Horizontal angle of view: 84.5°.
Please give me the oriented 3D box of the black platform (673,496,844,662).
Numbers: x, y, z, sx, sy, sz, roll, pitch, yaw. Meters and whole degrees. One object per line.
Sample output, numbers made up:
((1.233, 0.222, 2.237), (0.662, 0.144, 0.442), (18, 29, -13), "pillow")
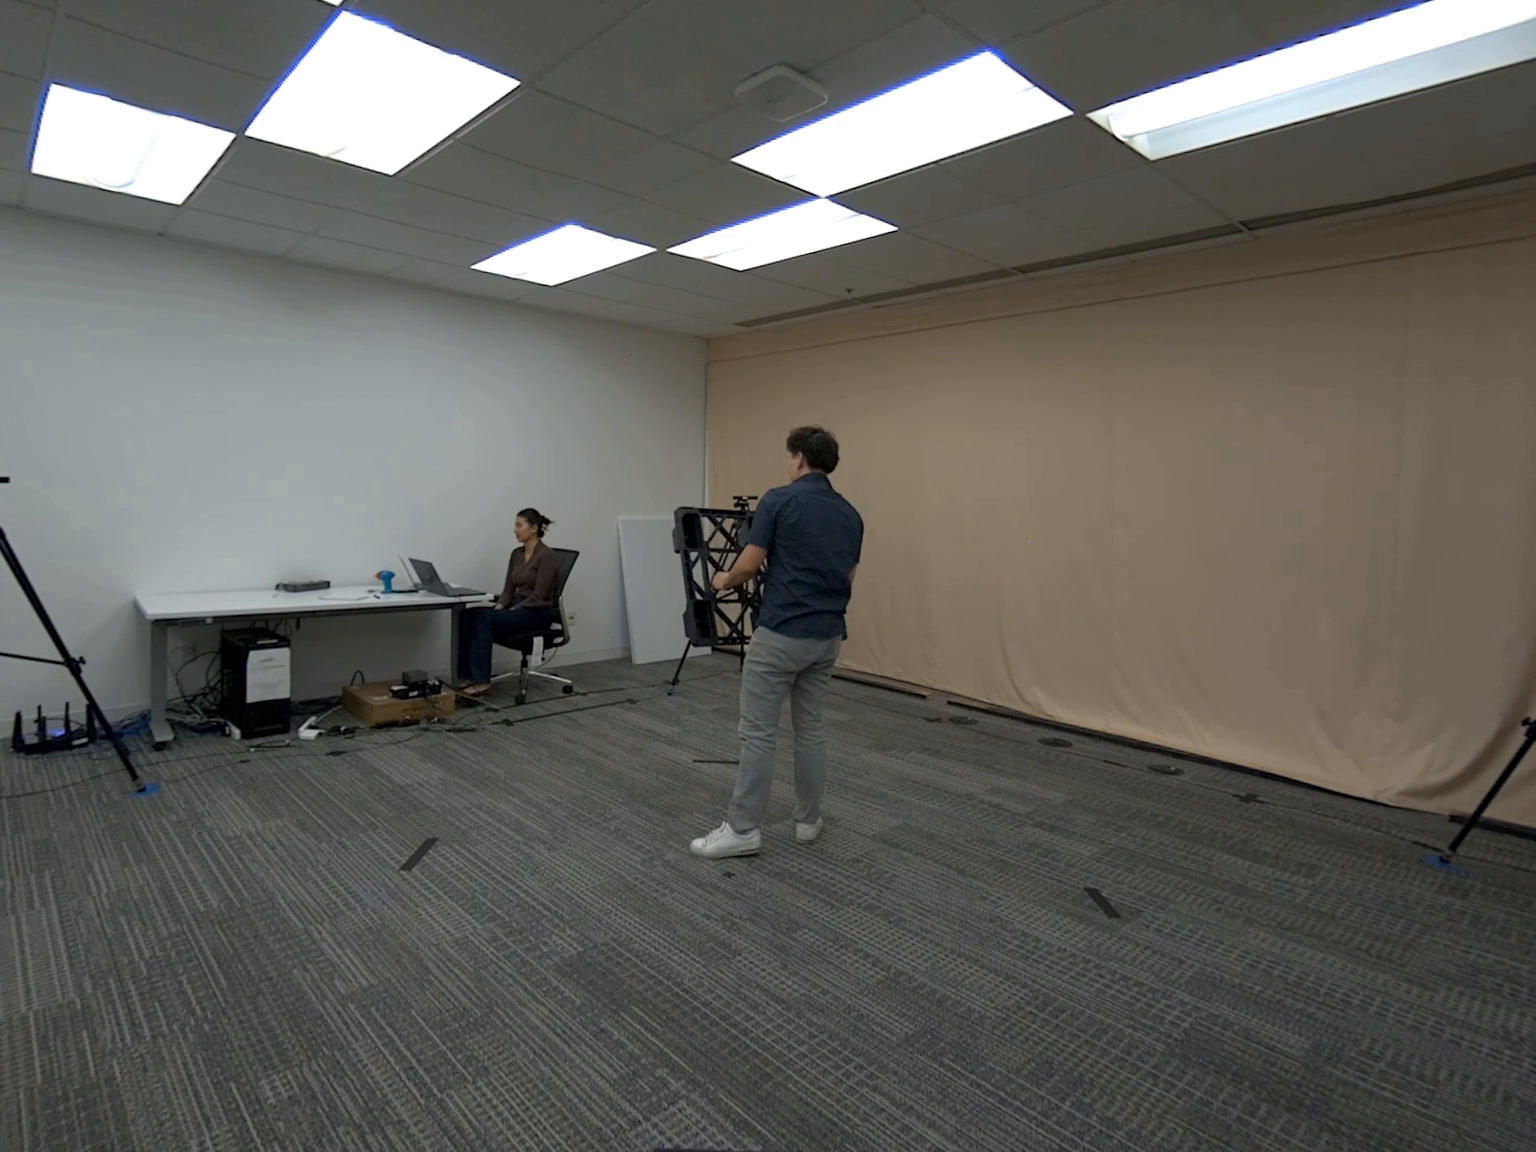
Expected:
((-0.057, 0.012, 3.719), (0.788, 0.613, 0.144), (1, -19, -32), "black platform")
